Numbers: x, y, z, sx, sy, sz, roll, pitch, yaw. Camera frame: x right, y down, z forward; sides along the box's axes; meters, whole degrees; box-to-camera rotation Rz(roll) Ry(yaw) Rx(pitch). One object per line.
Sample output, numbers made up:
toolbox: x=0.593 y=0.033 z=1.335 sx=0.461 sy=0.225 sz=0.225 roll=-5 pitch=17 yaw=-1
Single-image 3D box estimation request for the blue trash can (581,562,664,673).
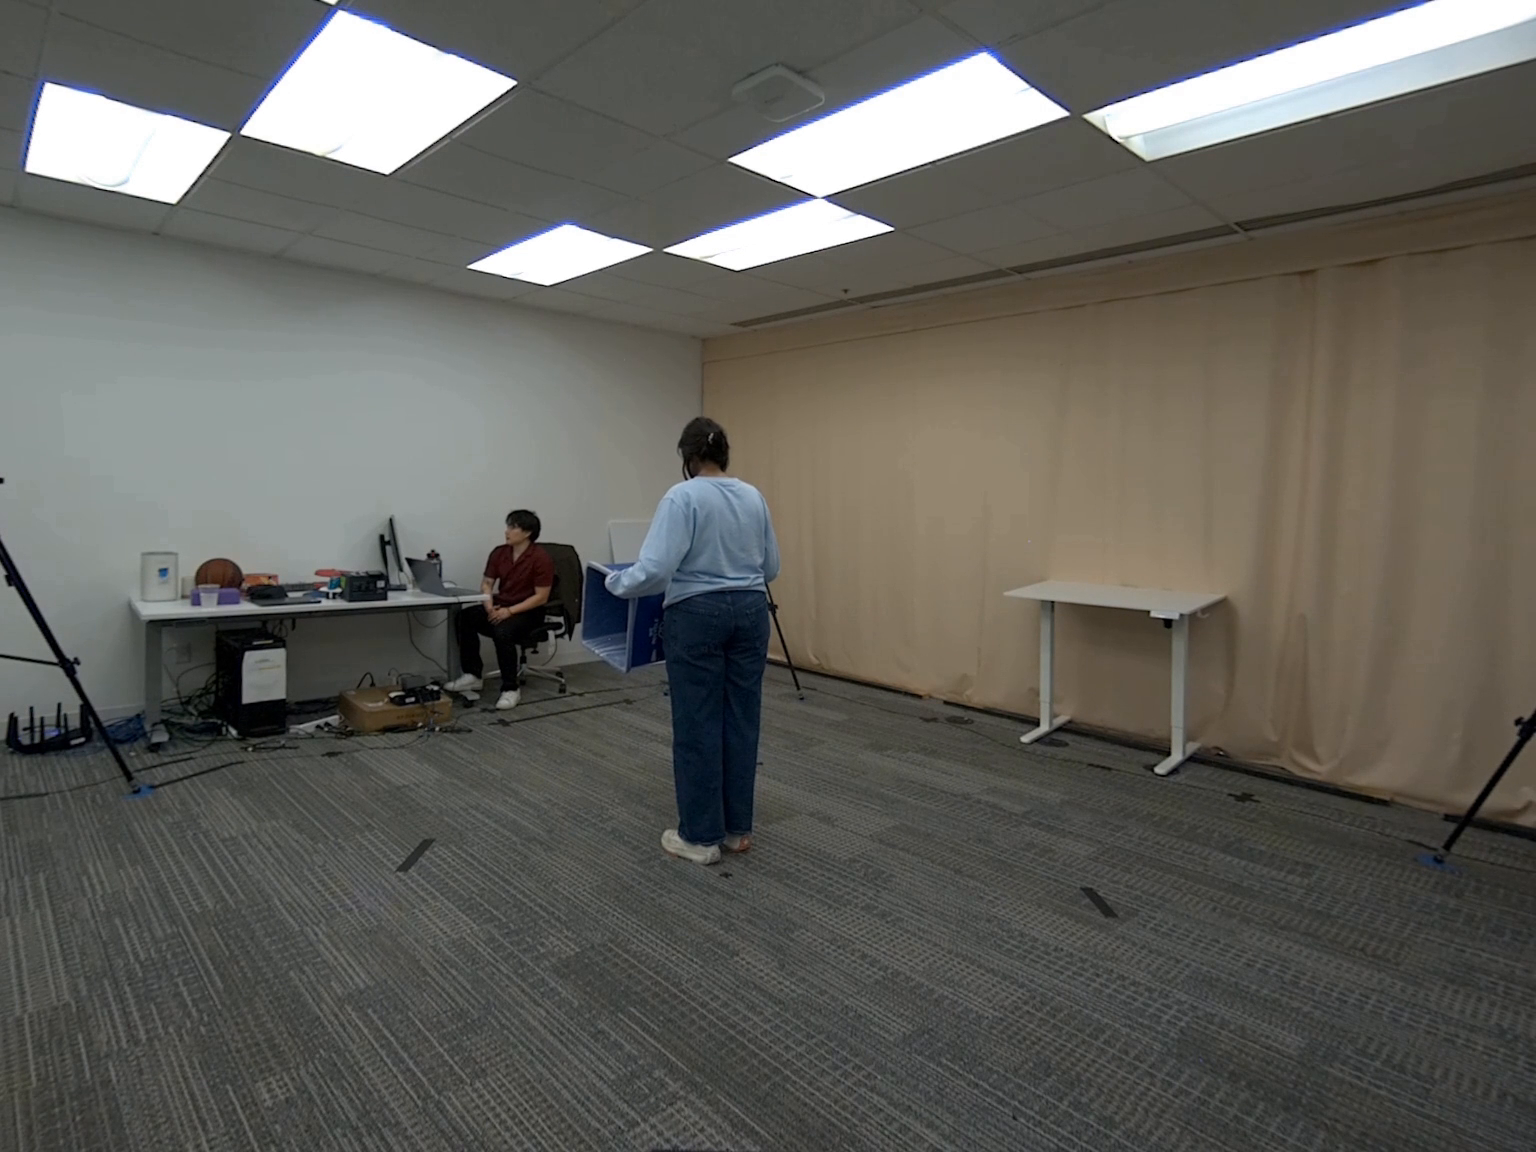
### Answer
blue trash can: x=-0.390 y=0.123 z=3.570 sx=0.699 sy=0.370 sz=0.389 roll=-8 pitch=19 yaw=-40
